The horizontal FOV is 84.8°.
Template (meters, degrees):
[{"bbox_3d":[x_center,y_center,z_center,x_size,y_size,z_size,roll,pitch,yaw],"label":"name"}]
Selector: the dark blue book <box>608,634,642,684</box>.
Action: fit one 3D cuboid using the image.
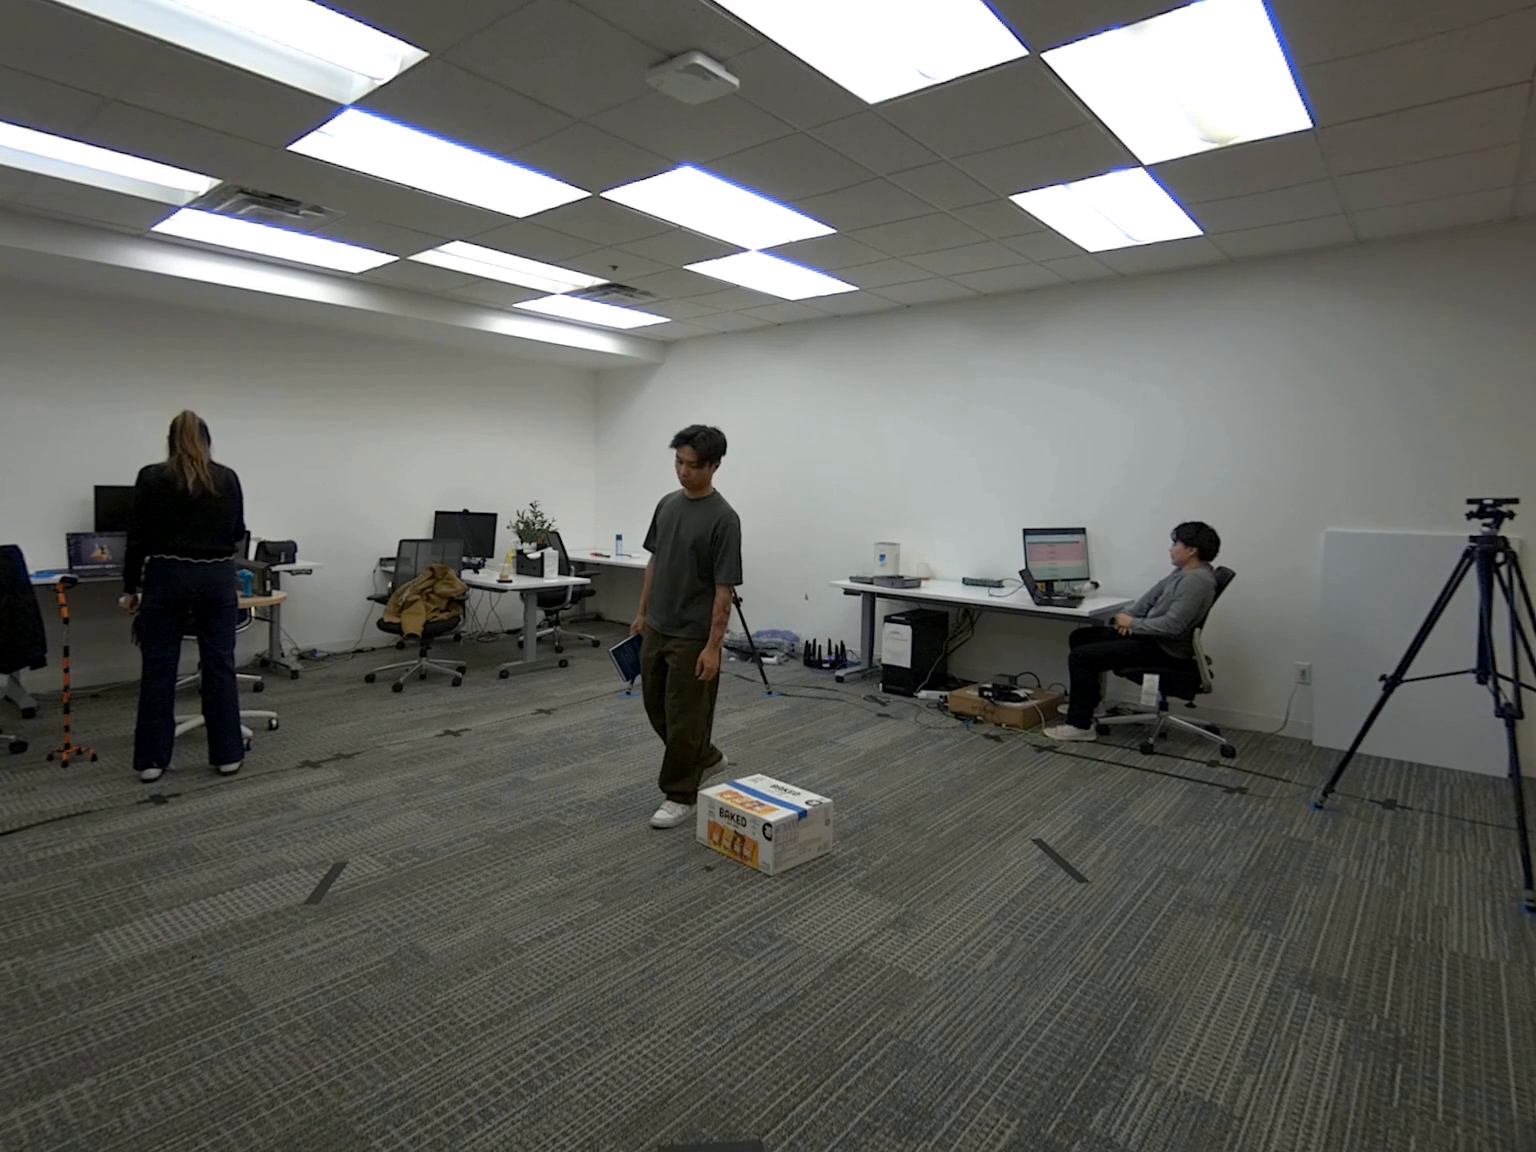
[{"bbox_3d":[-0.587,0.336,3.808,0.242,0.162,0.046,-29,7,-26],"label":"dark blue book"}]
